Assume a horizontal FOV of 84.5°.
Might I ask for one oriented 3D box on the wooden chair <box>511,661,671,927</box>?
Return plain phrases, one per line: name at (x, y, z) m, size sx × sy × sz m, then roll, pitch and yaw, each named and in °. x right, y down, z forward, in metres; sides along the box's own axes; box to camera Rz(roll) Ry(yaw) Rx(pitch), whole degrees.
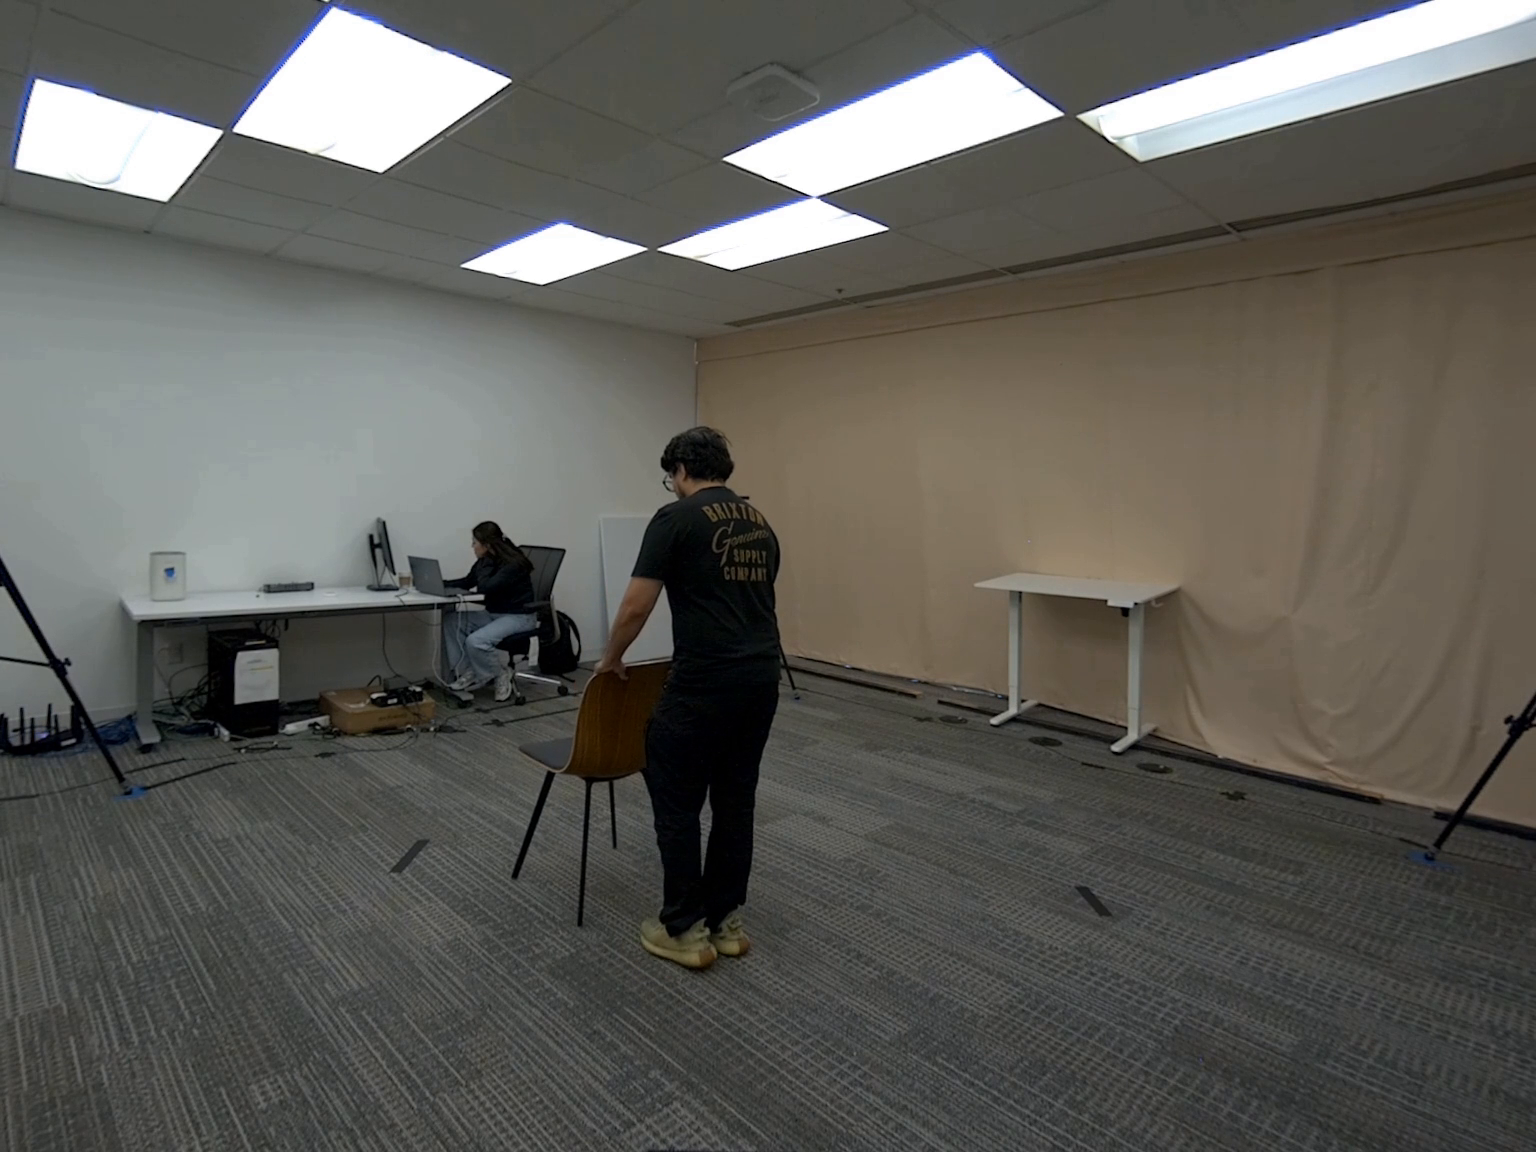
wooden chair at (-0.606, 0.676, 2.997) m, size 0.467 × 0.873 × 0.538 m, roll -3°, pitch 10°, yaw -43°
